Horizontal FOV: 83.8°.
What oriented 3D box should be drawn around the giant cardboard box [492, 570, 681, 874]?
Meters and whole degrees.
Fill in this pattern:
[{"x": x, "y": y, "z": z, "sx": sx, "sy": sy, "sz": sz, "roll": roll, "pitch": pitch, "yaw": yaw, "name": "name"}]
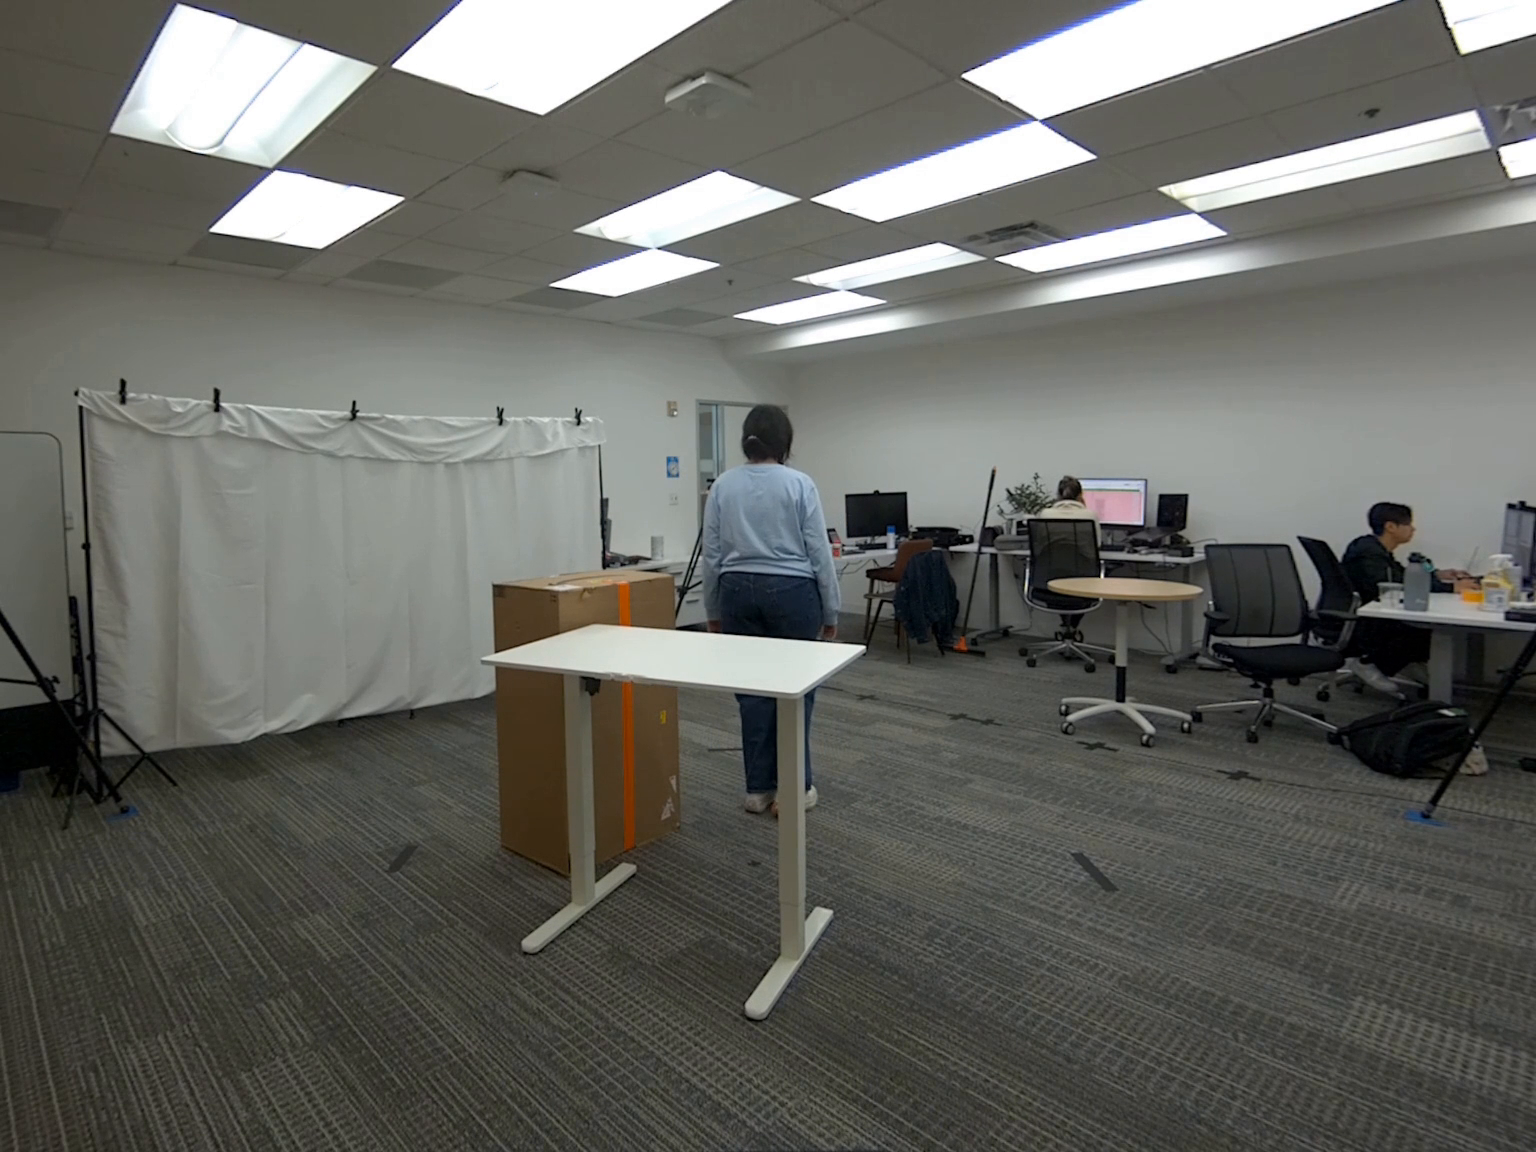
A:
[{"x": -0.700, "y": 0.523, "z": 3.342, "sx": 0.439, "sy": 1.022, "sz": 0.562, "roll": 2, "pitch": 5, "yaw": 40, "name": "giant cardboard box"}]
